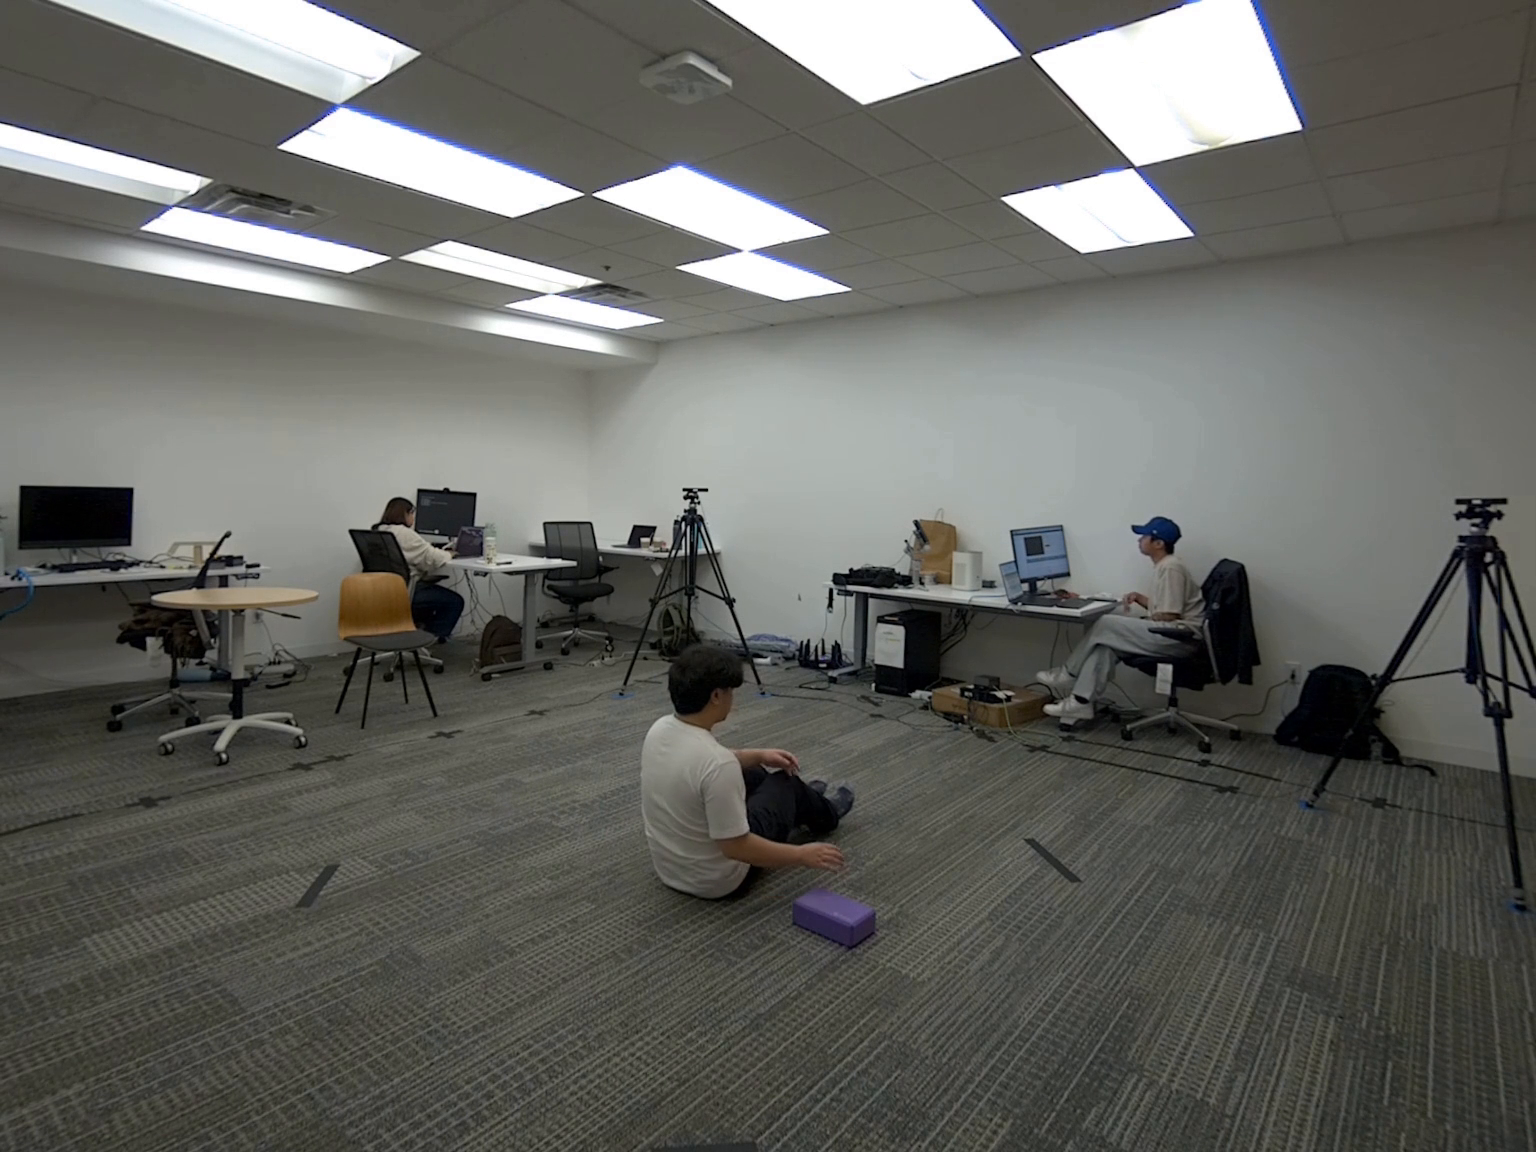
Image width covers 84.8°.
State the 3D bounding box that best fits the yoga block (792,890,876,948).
[{"bbox_3d":[0.202,1.076,2.709,0.237,0.076,0.144,6,5,39],"label":"yoga block"}]
